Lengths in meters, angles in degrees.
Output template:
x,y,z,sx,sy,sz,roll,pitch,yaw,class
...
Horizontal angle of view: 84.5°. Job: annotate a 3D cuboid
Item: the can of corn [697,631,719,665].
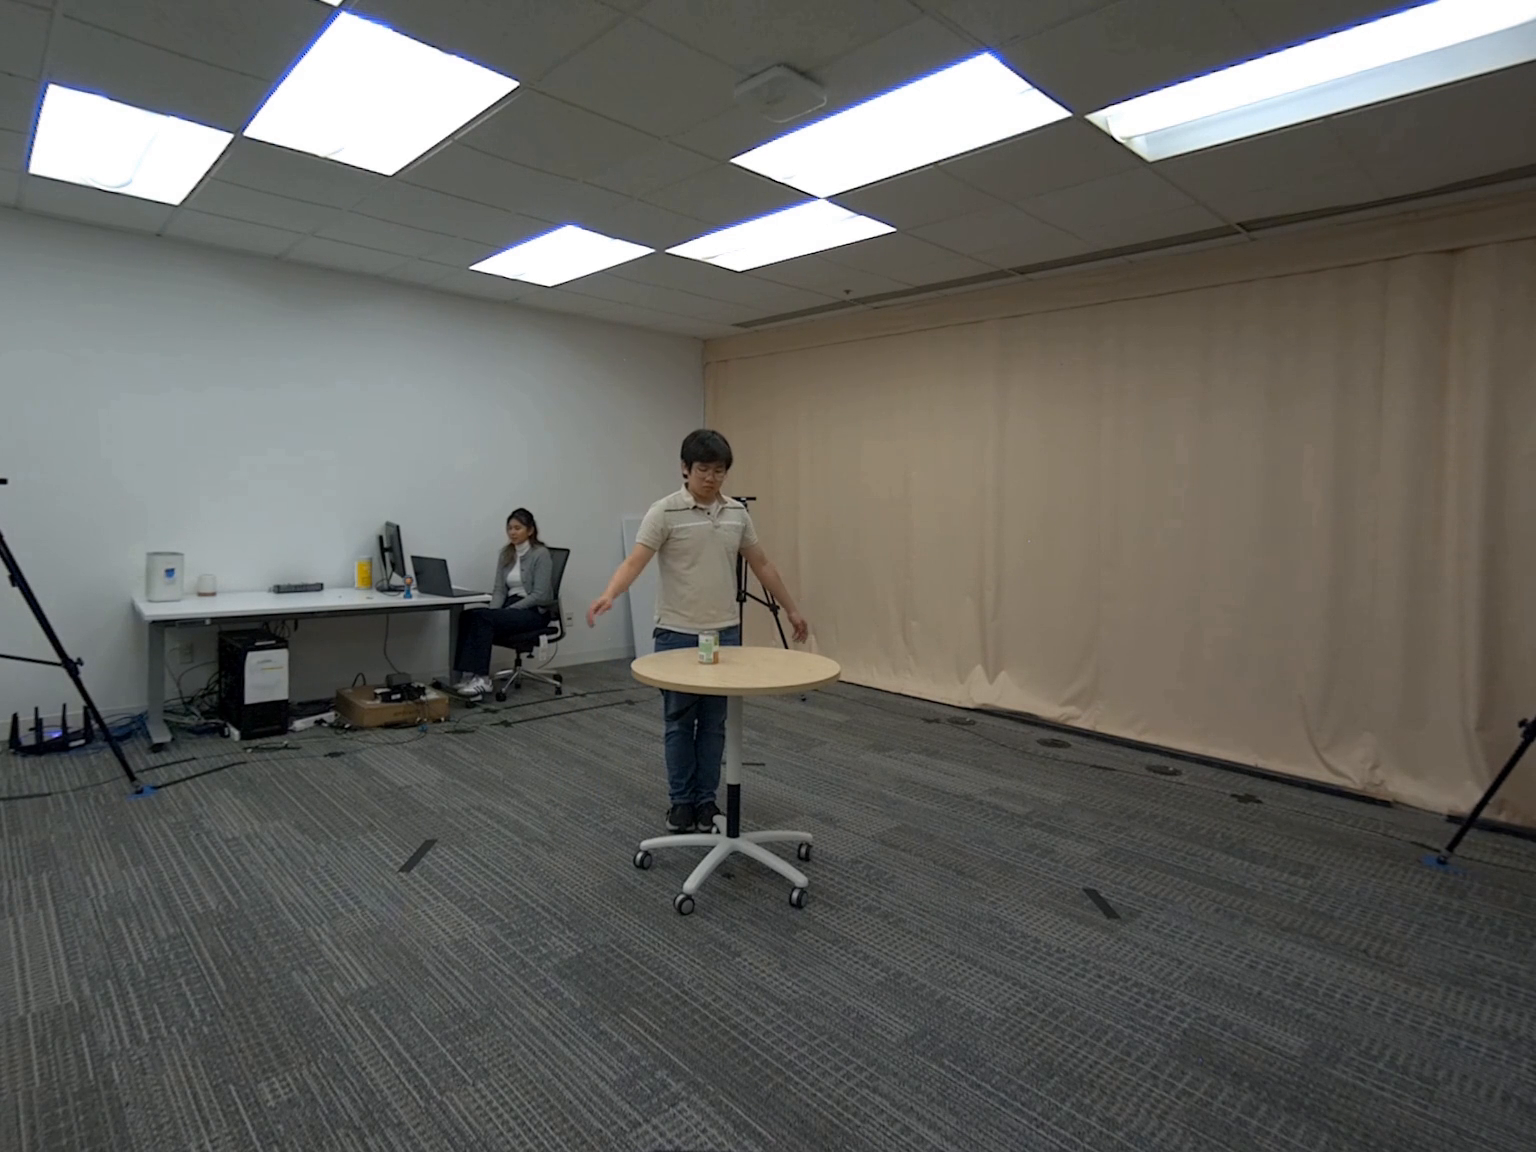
x,y,z,sx,sy,sz,roll,pitch,yaw,class
-0.231,0.268,3.118,0.074,0.111,0.074,3,0,-1,can of corn
